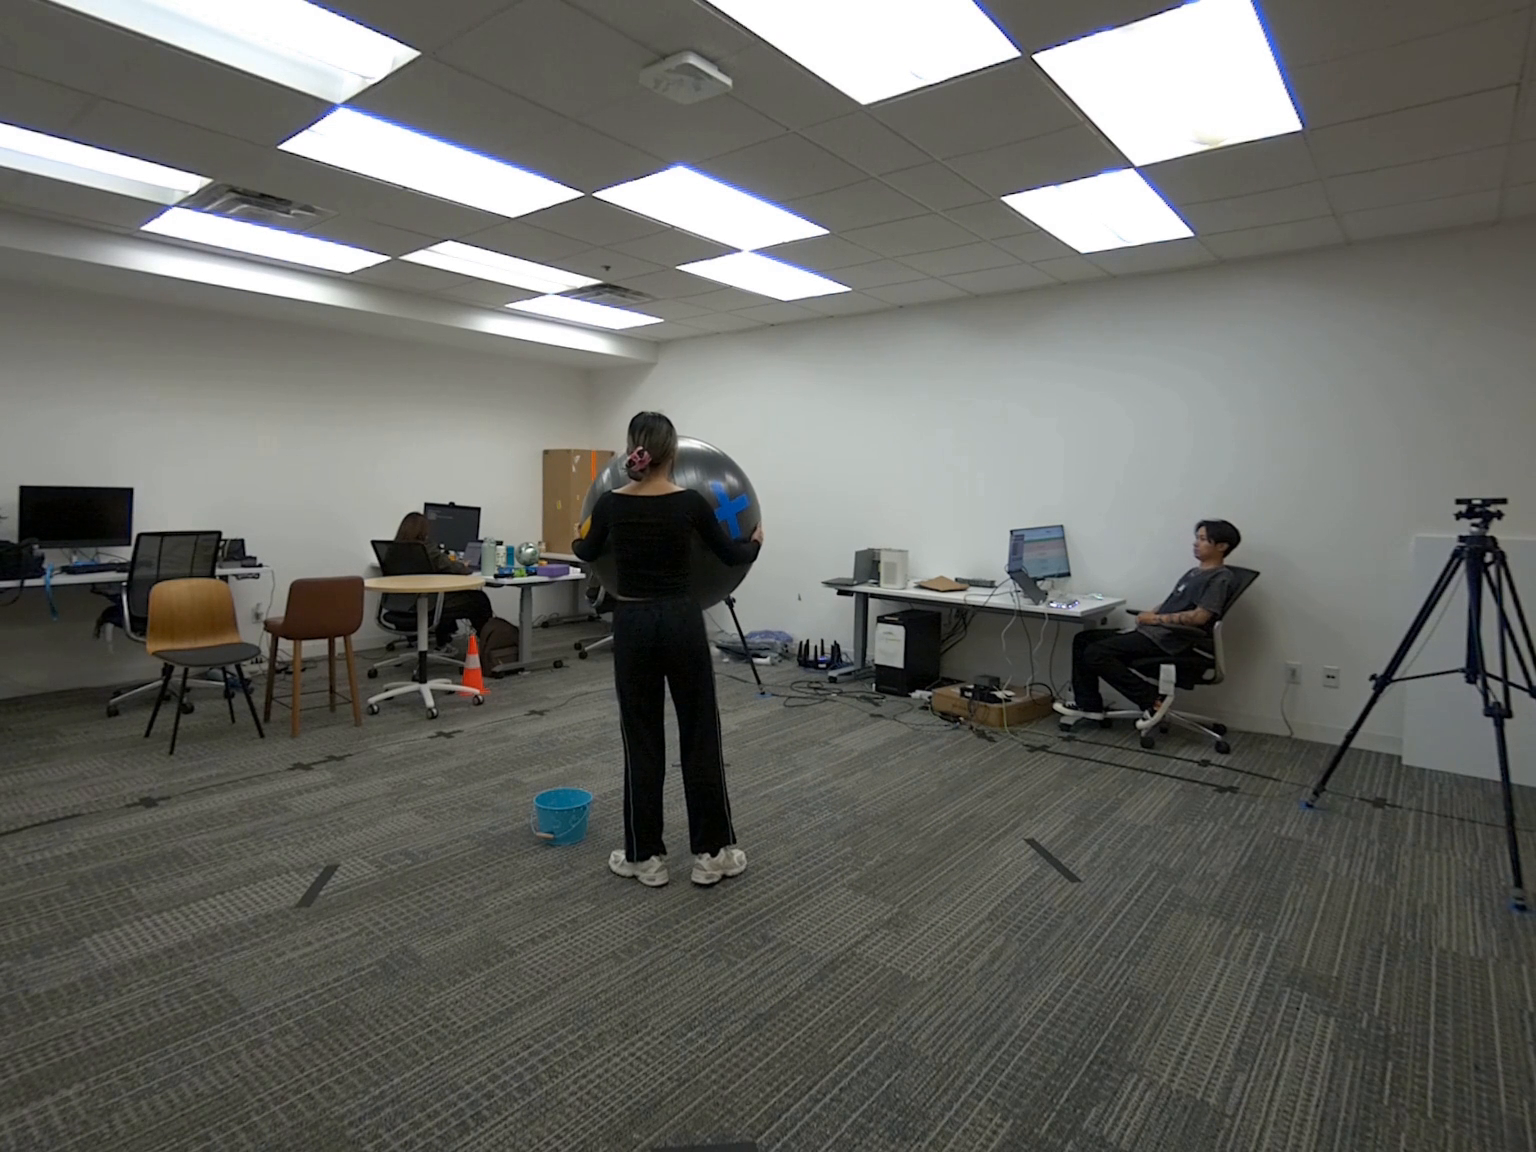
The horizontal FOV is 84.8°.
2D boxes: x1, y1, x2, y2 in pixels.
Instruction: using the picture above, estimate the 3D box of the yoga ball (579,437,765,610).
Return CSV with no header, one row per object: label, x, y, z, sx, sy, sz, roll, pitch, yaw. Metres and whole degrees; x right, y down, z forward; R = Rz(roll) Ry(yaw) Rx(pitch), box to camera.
yoga ball,-0.408,-0.206,3.559,0.757,0.755,0.762,1,4,-2
